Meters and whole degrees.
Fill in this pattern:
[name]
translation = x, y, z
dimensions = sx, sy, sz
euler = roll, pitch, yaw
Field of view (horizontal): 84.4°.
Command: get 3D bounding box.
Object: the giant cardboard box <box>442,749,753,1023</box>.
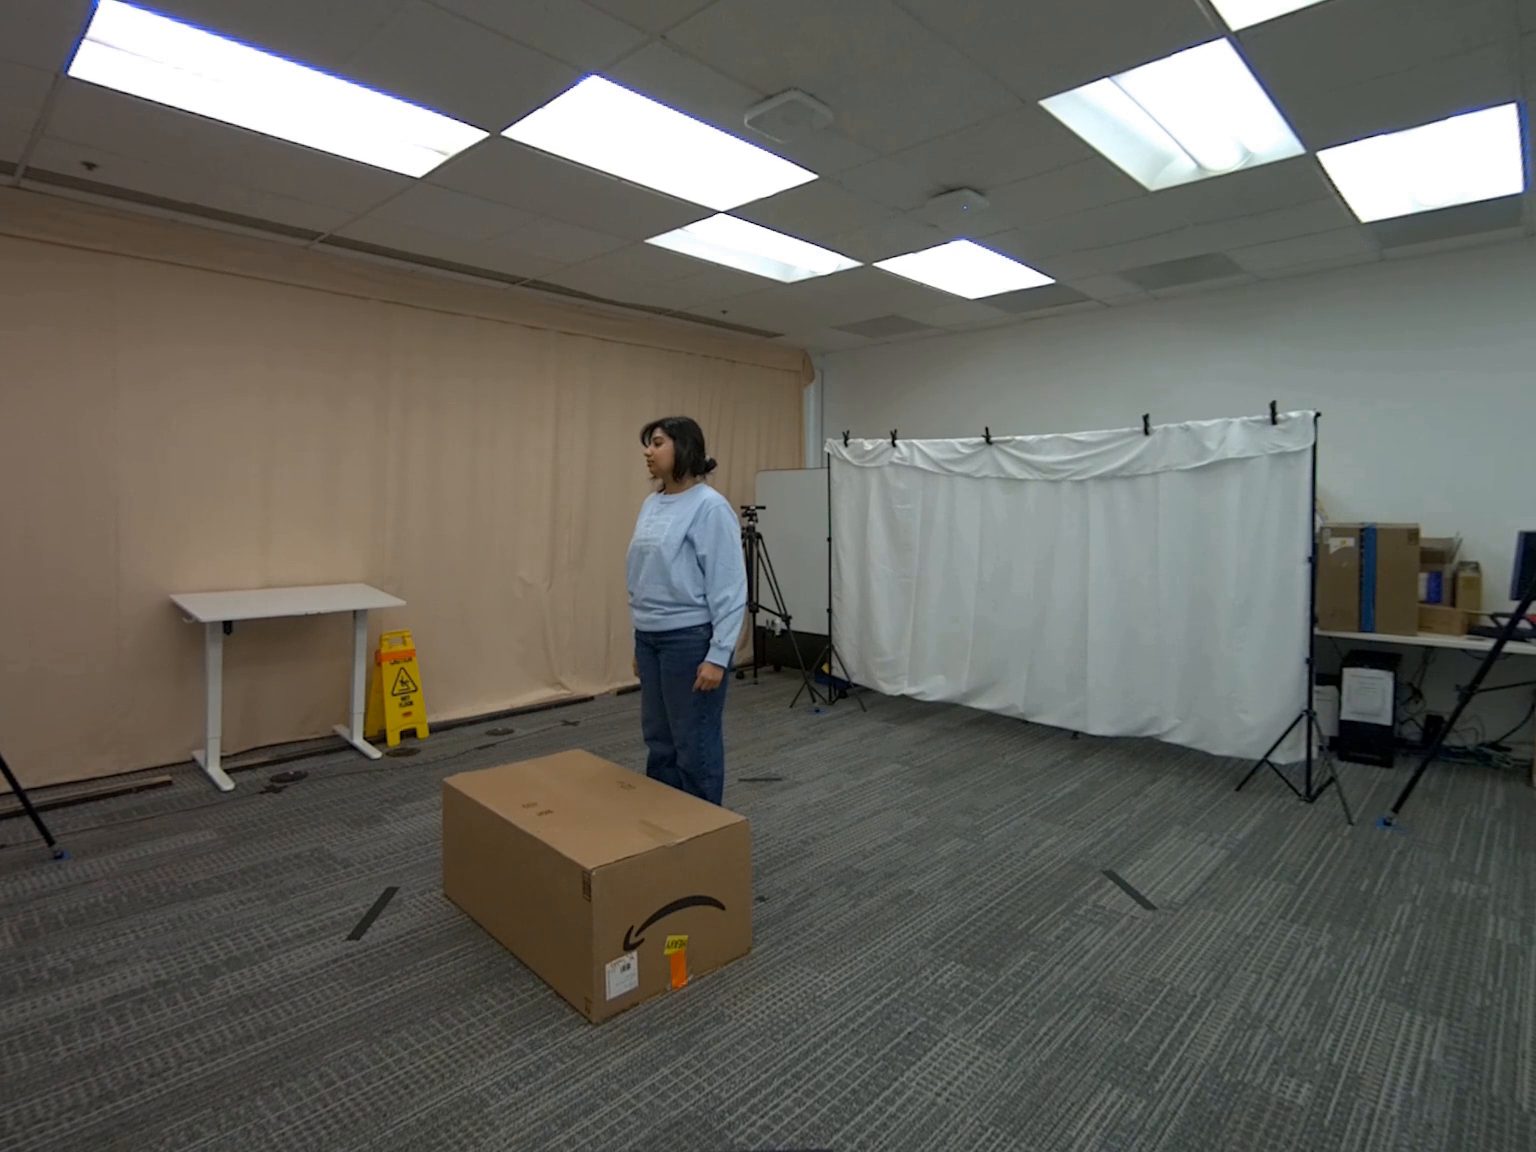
[giant cardboard box]
translation = -0.610, 0.948, 2.816
dimensions = 0.560, 0.425, 1.060
euler = -4, 6, -42
